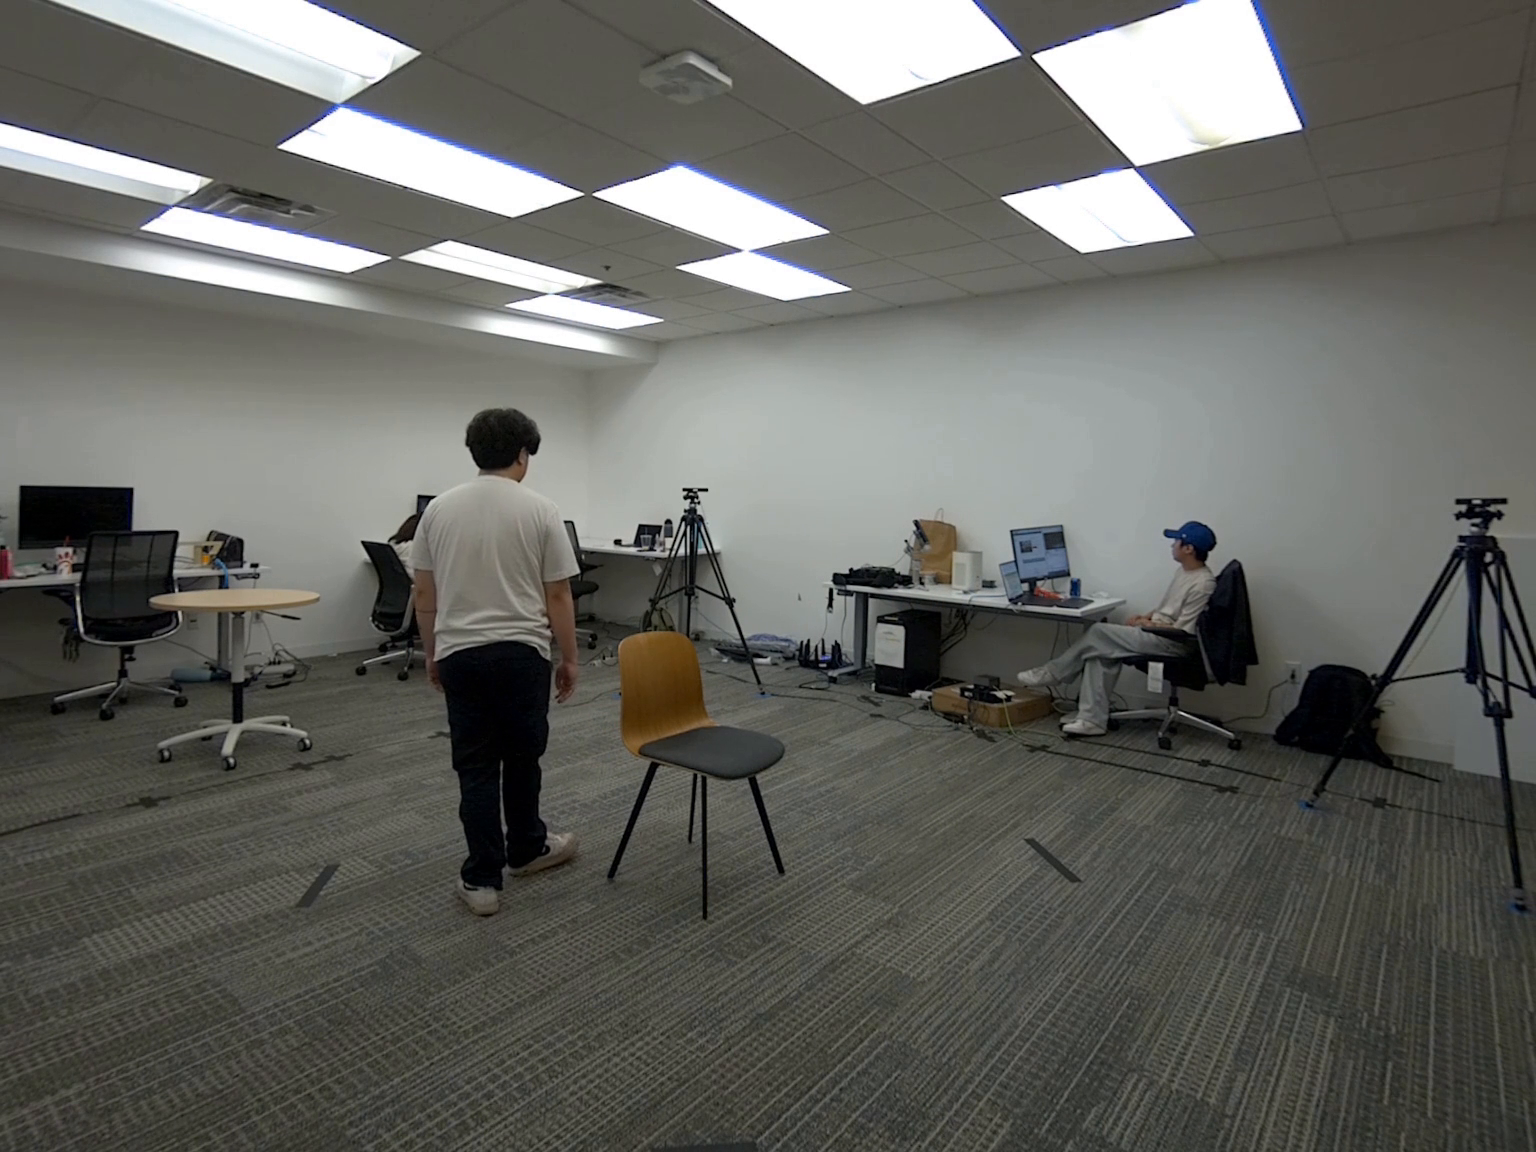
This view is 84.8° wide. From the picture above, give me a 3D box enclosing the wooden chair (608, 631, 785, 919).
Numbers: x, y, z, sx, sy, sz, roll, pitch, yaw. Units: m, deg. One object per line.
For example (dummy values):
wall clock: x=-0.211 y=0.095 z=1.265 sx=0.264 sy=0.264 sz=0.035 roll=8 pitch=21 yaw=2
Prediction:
wooden chair: x=-0.246 y=0.651 z=3.021 sx=0.539 sy=0.877 sz=0.464 roll=-2 pitch=0 yaw=38
